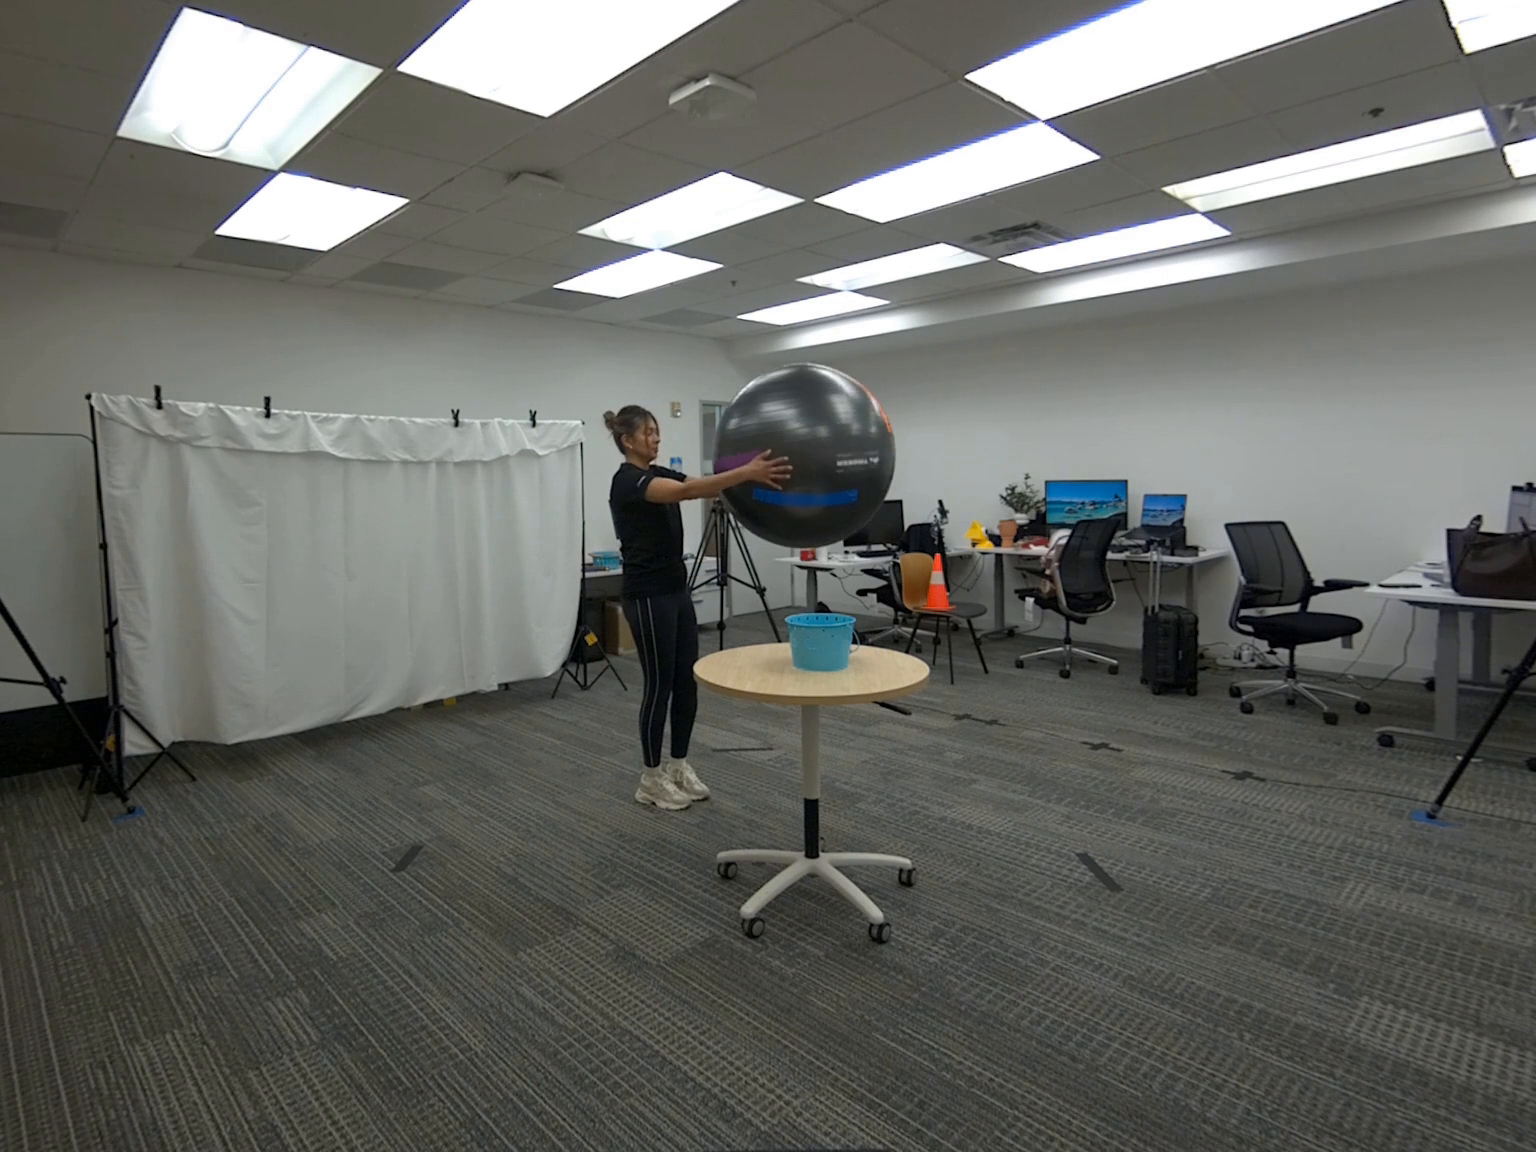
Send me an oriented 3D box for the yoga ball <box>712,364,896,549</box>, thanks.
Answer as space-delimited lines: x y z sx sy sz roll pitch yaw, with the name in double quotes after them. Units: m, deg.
0.156 -0.477 3.555 0.757 0.755 0.762 -1 5 -2 "yoga ball"
